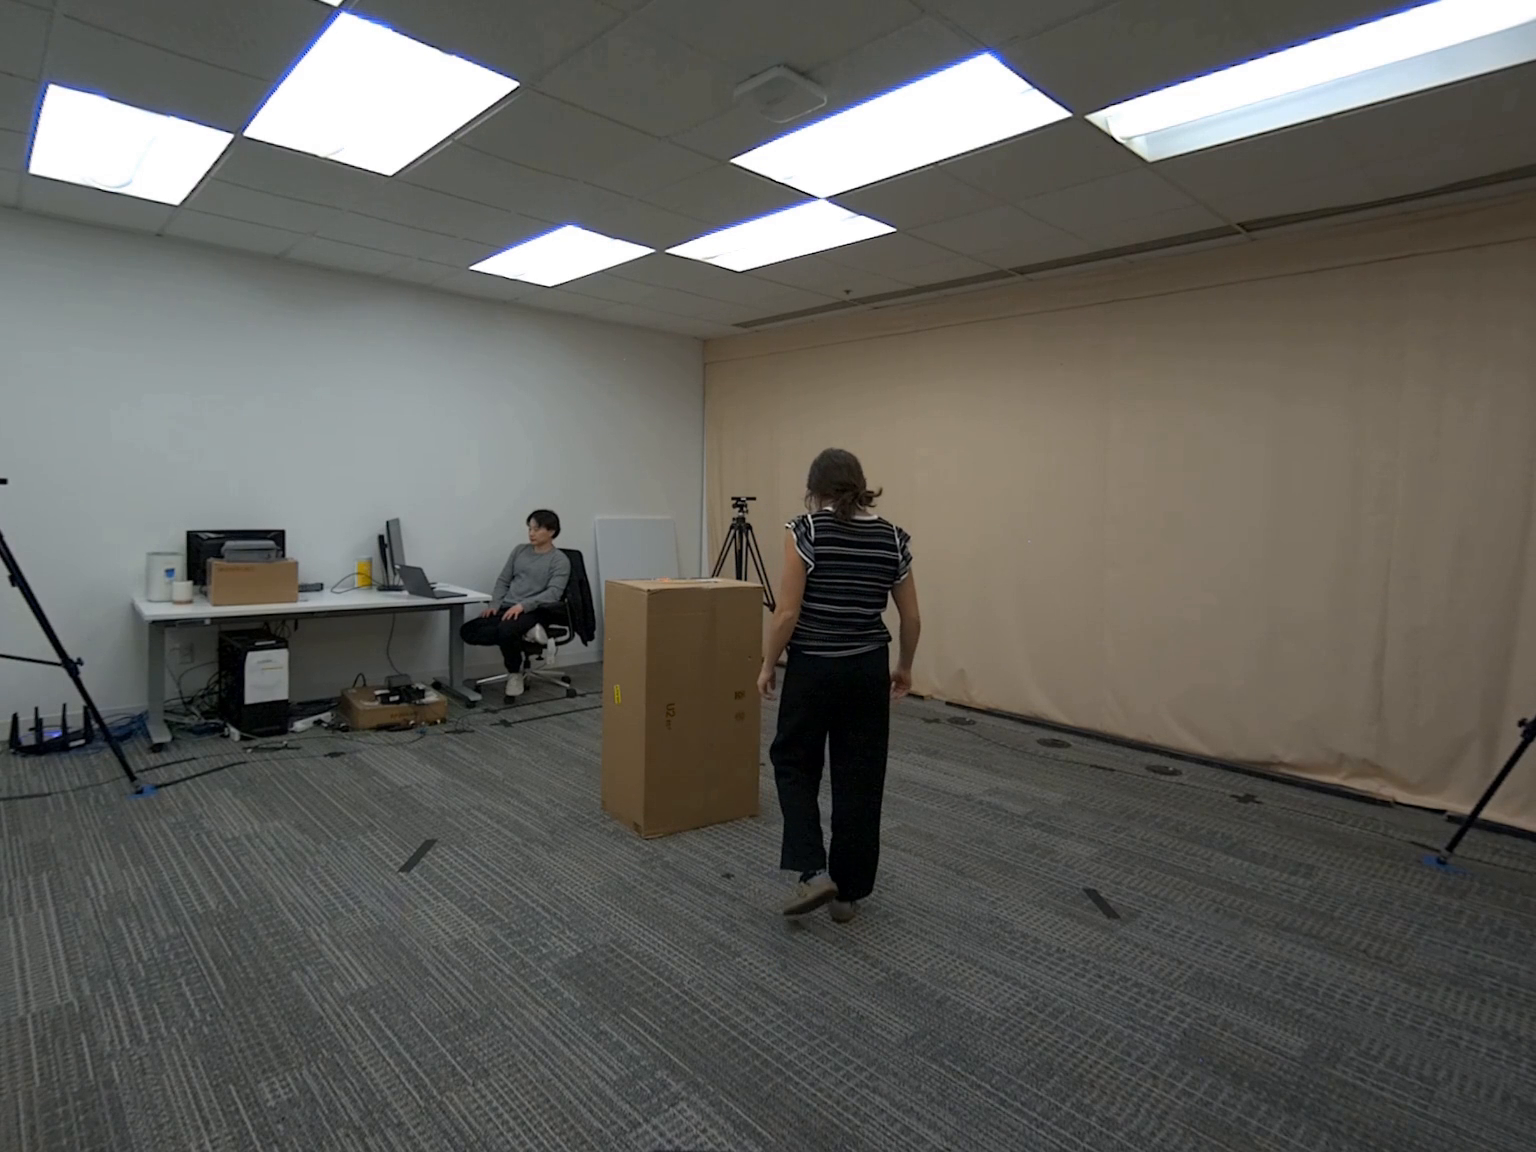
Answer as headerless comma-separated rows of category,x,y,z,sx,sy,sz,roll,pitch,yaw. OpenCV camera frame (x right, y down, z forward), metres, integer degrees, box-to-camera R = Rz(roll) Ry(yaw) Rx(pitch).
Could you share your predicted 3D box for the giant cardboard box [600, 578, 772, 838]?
giant cardboard box,-0.390,0.539,3.720,0.565,1.024,0.436,-1,3,-34
